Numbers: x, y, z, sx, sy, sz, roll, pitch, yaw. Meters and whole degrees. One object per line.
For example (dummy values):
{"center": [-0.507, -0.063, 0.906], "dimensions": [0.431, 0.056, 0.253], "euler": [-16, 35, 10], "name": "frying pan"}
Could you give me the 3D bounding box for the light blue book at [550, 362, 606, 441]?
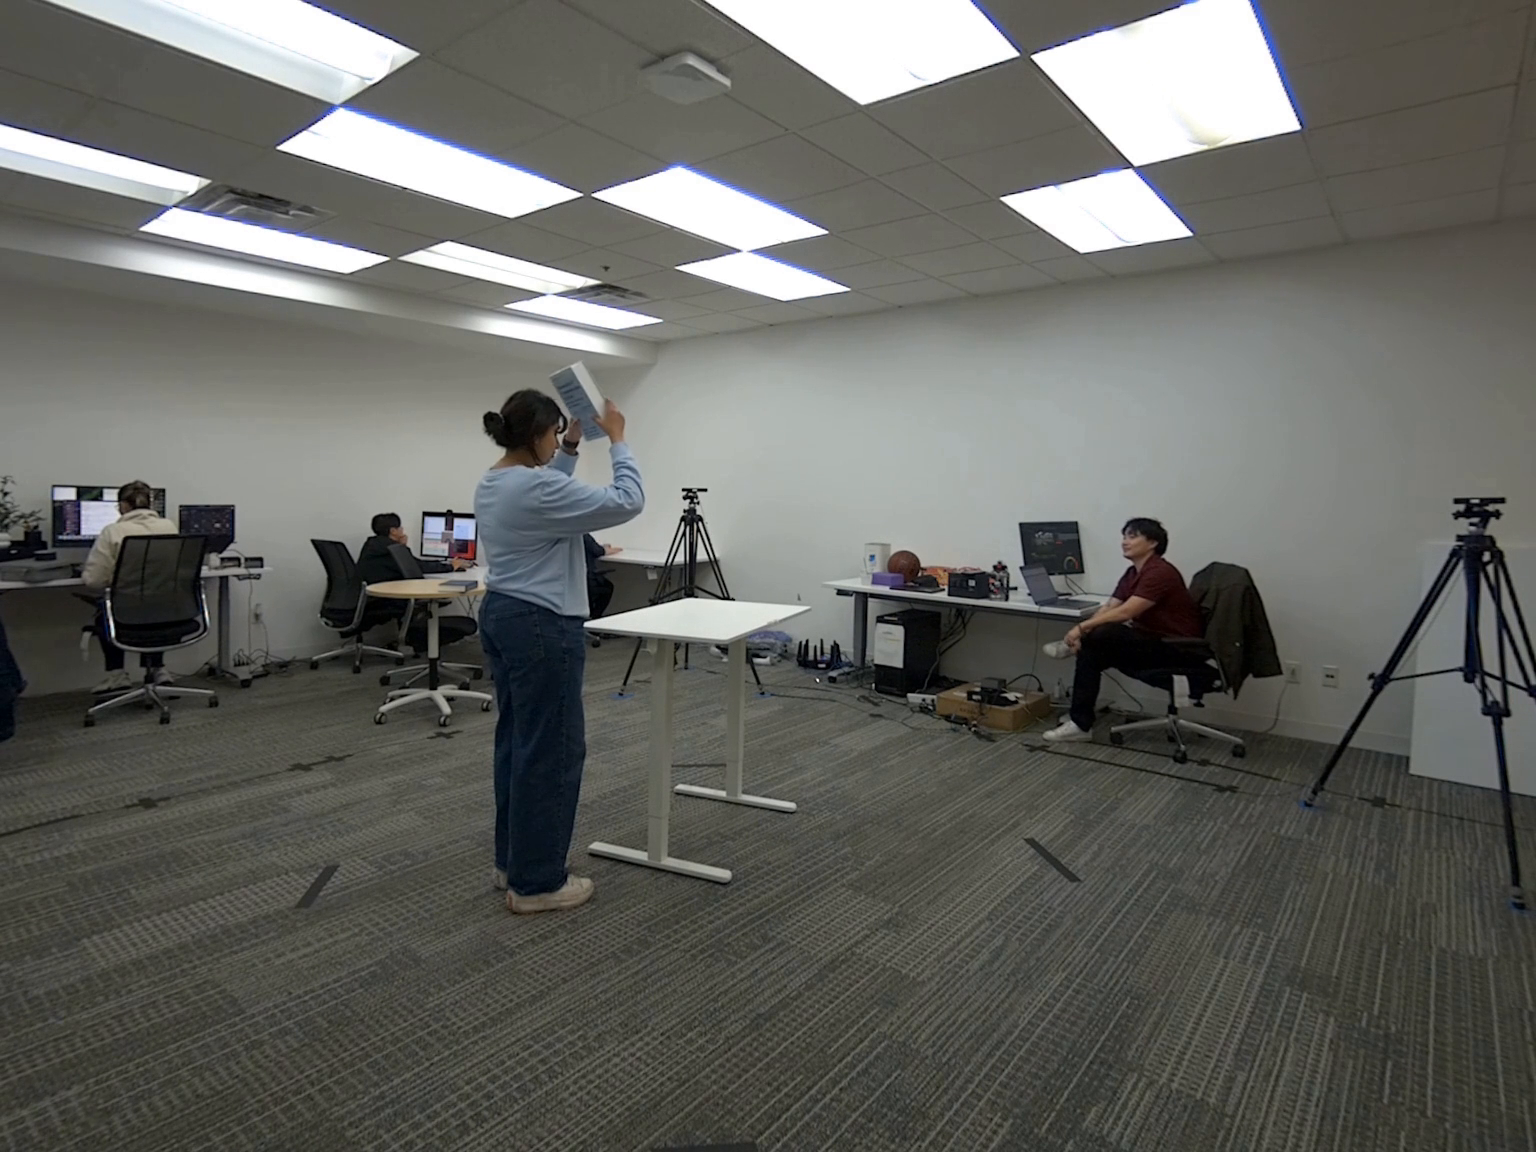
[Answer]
{"center": [-0.649, -0.601, 2.936], "dimensions": [0.058, 0.255, 0.197], "euler": [-38, 20, -30], "name": "light blue book"}
